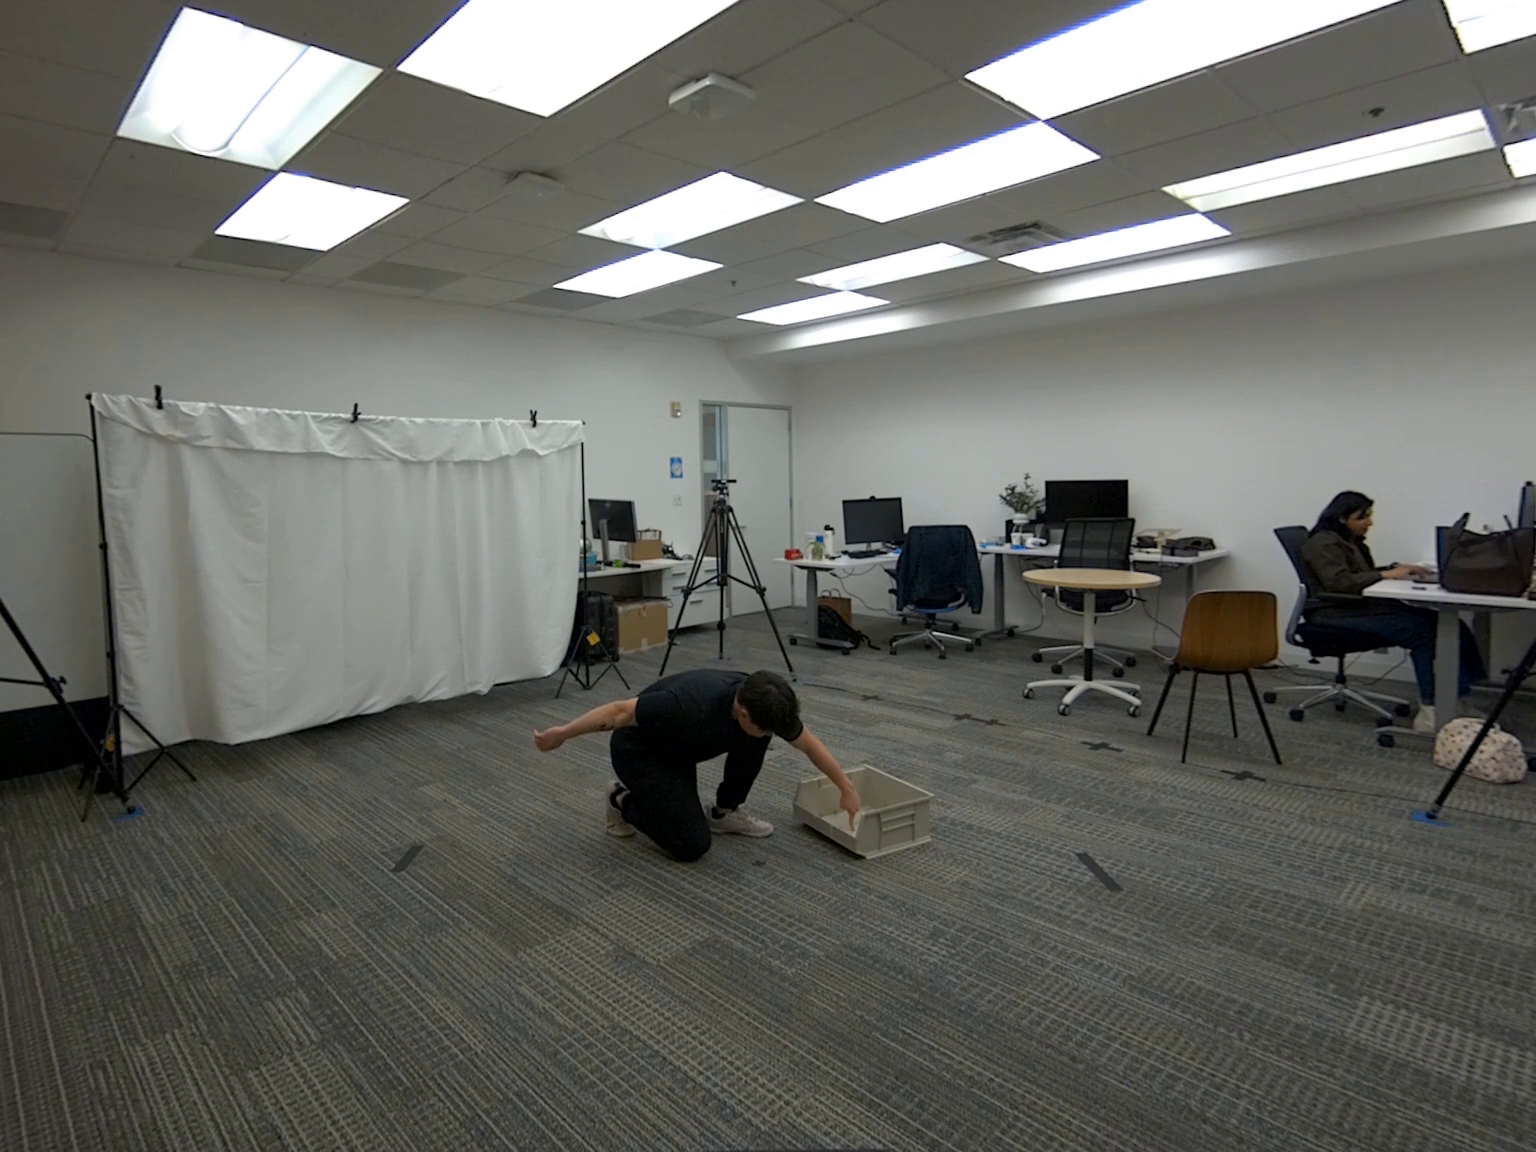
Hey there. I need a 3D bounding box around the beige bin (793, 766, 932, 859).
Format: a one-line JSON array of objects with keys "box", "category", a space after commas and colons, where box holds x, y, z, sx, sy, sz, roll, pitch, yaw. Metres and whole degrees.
[{"box": [0.364, 0.916, 3.358, 0.368, 0.188, 0.434, -4, 6, -31], "category": "beige bin"}]
